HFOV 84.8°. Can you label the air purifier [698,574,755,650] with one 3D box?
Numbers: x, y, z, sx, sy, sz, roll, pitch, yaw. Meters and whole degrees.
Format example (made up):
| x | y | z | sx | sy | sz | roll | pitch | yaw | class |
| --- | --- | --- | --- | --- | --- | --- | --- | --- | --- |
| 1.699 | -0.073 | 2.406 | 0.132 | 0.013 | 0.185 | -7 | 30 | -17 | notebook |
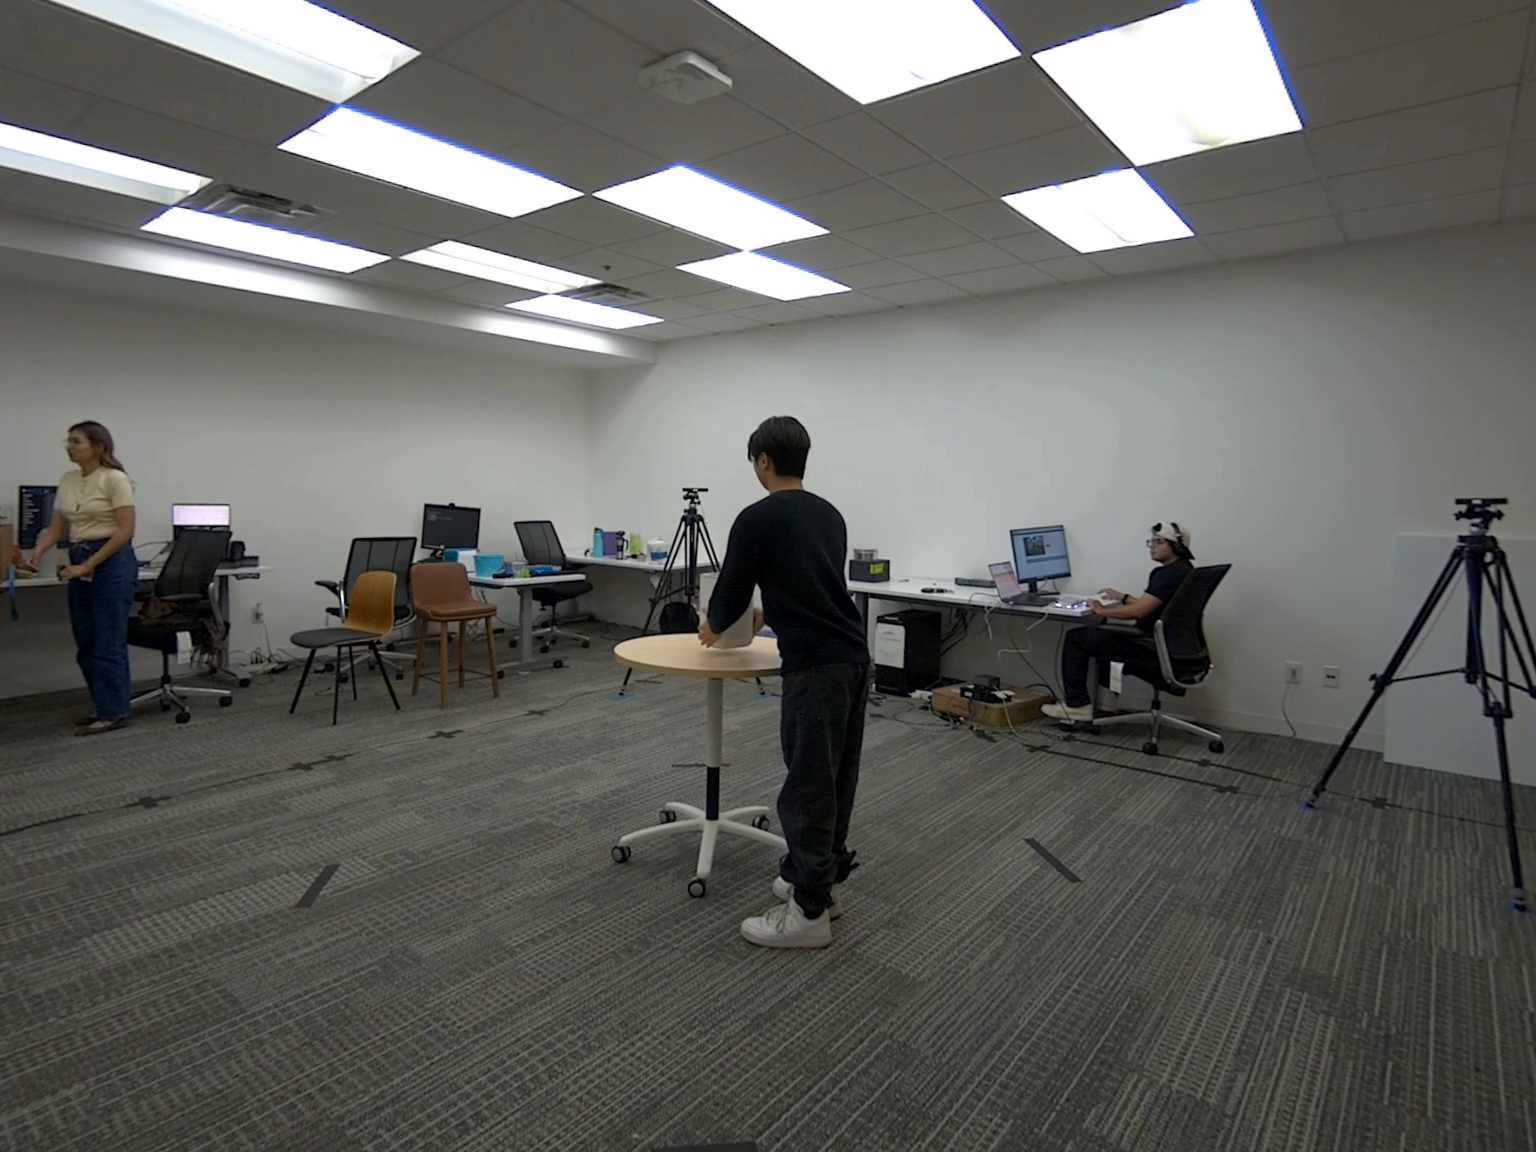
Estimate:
| x | y | z | sx | sy | sz | roll | pitch | yaw | class |
| --- | --- | --- | --- | --- | --- | --- | --- | --- | --- |
| -0.162 | 0.124 | 3.147 | 0.166 | 0.264 | 0.177 | -2 | 4 | -36 | air purifier |
